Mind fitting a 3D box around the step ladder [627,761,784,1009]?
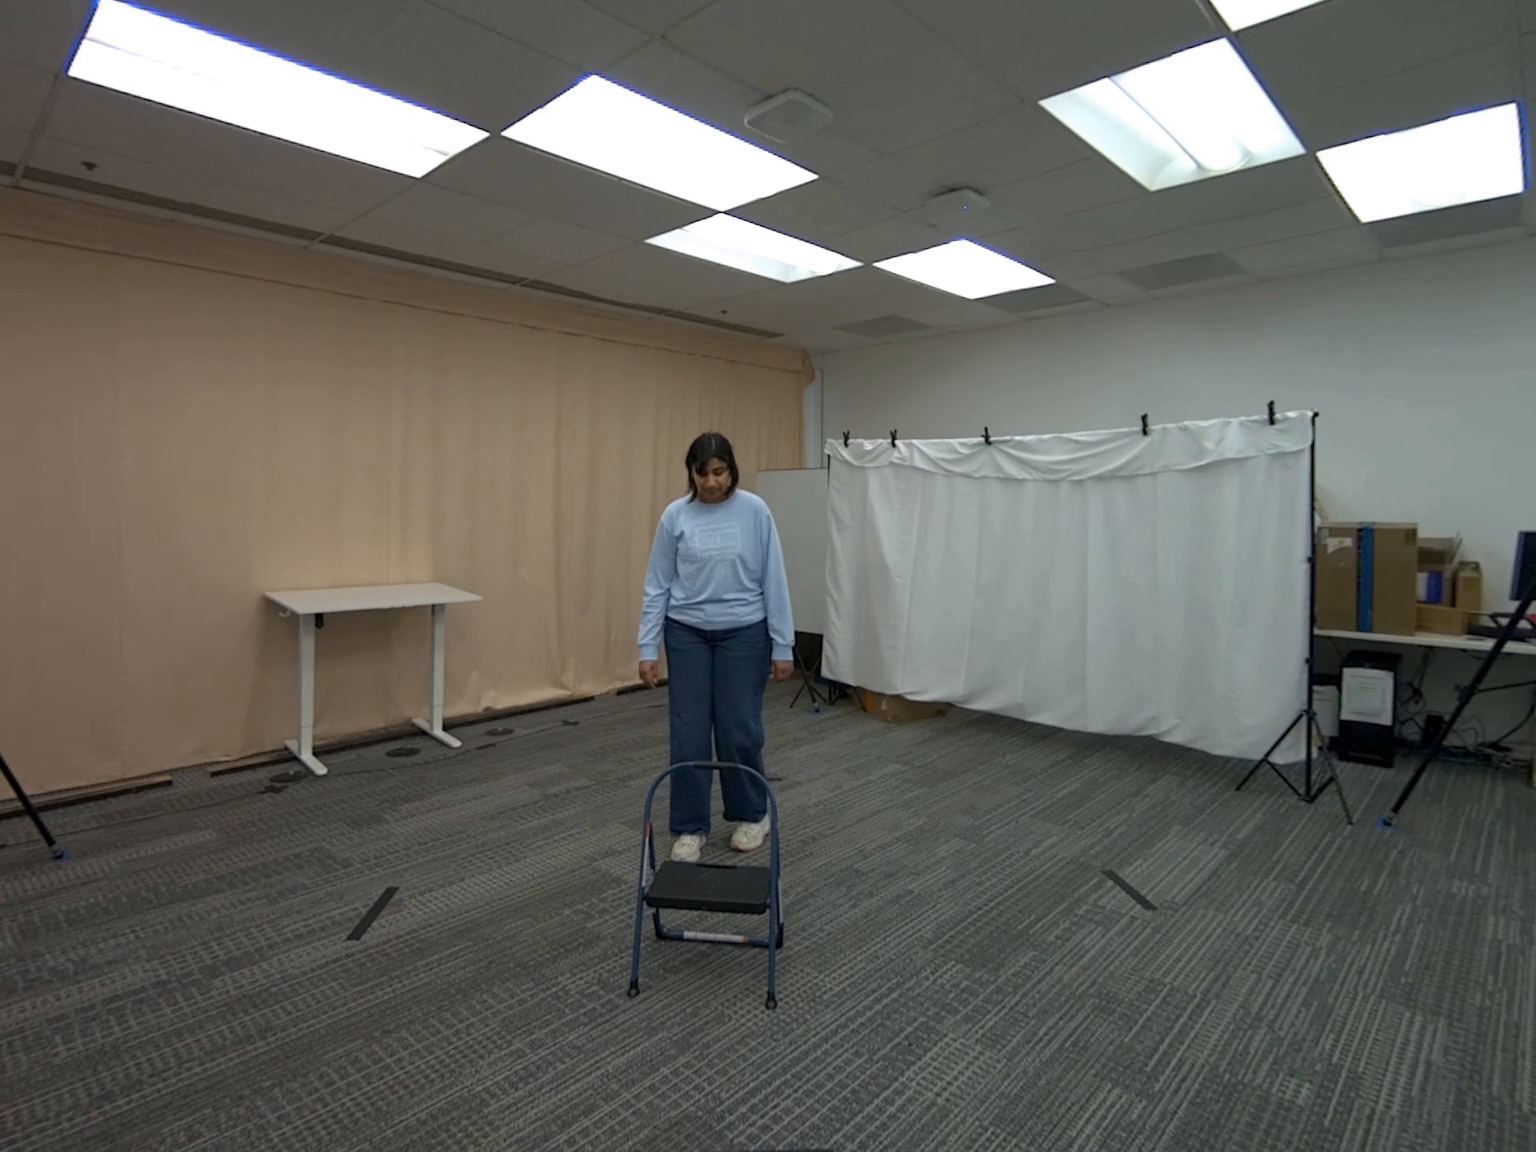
[{"bbox_3d":[-0.172,0.876,2.519,0.435,0.605,0.347,0,3,8],"label":"step ladder"}]
